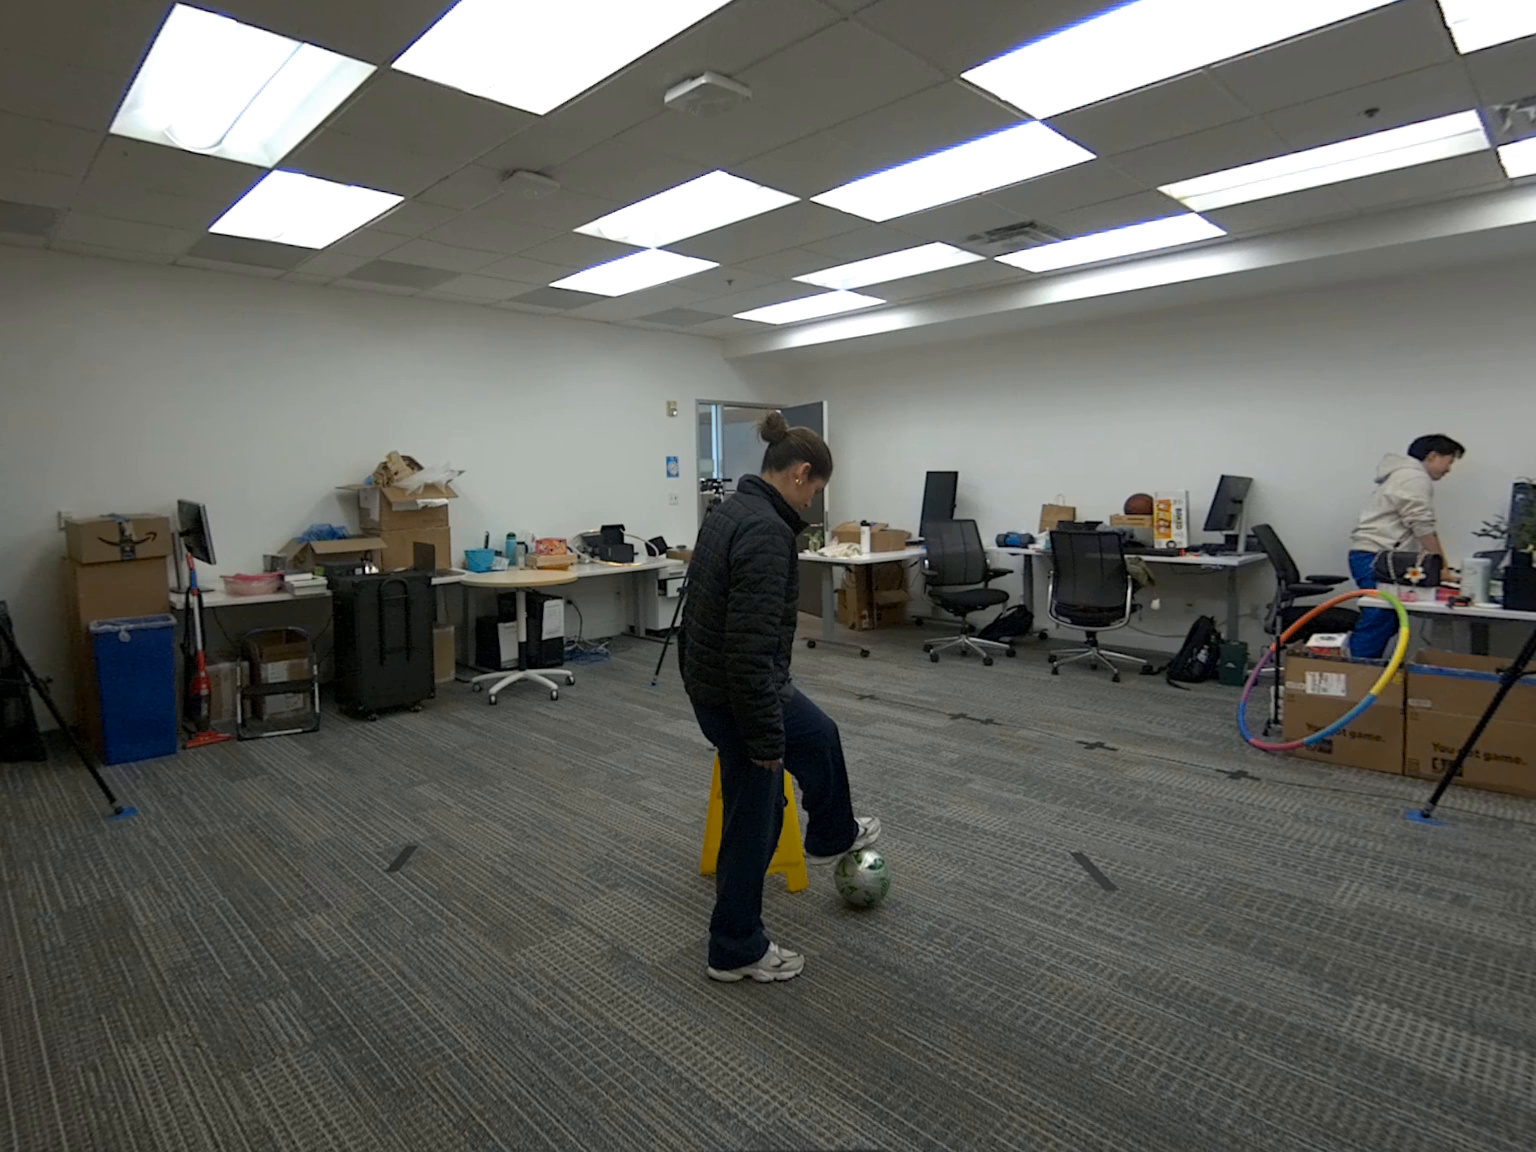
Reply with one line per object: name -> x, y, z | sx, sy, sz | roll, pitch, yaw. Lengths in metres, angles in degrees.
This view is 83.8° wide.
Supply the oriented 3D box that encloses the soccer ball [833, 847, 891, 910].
soccer ball -> 0.305, 0.972, 2.790 | 0.187, 0.187, 0.188 | -1, 5, -2
